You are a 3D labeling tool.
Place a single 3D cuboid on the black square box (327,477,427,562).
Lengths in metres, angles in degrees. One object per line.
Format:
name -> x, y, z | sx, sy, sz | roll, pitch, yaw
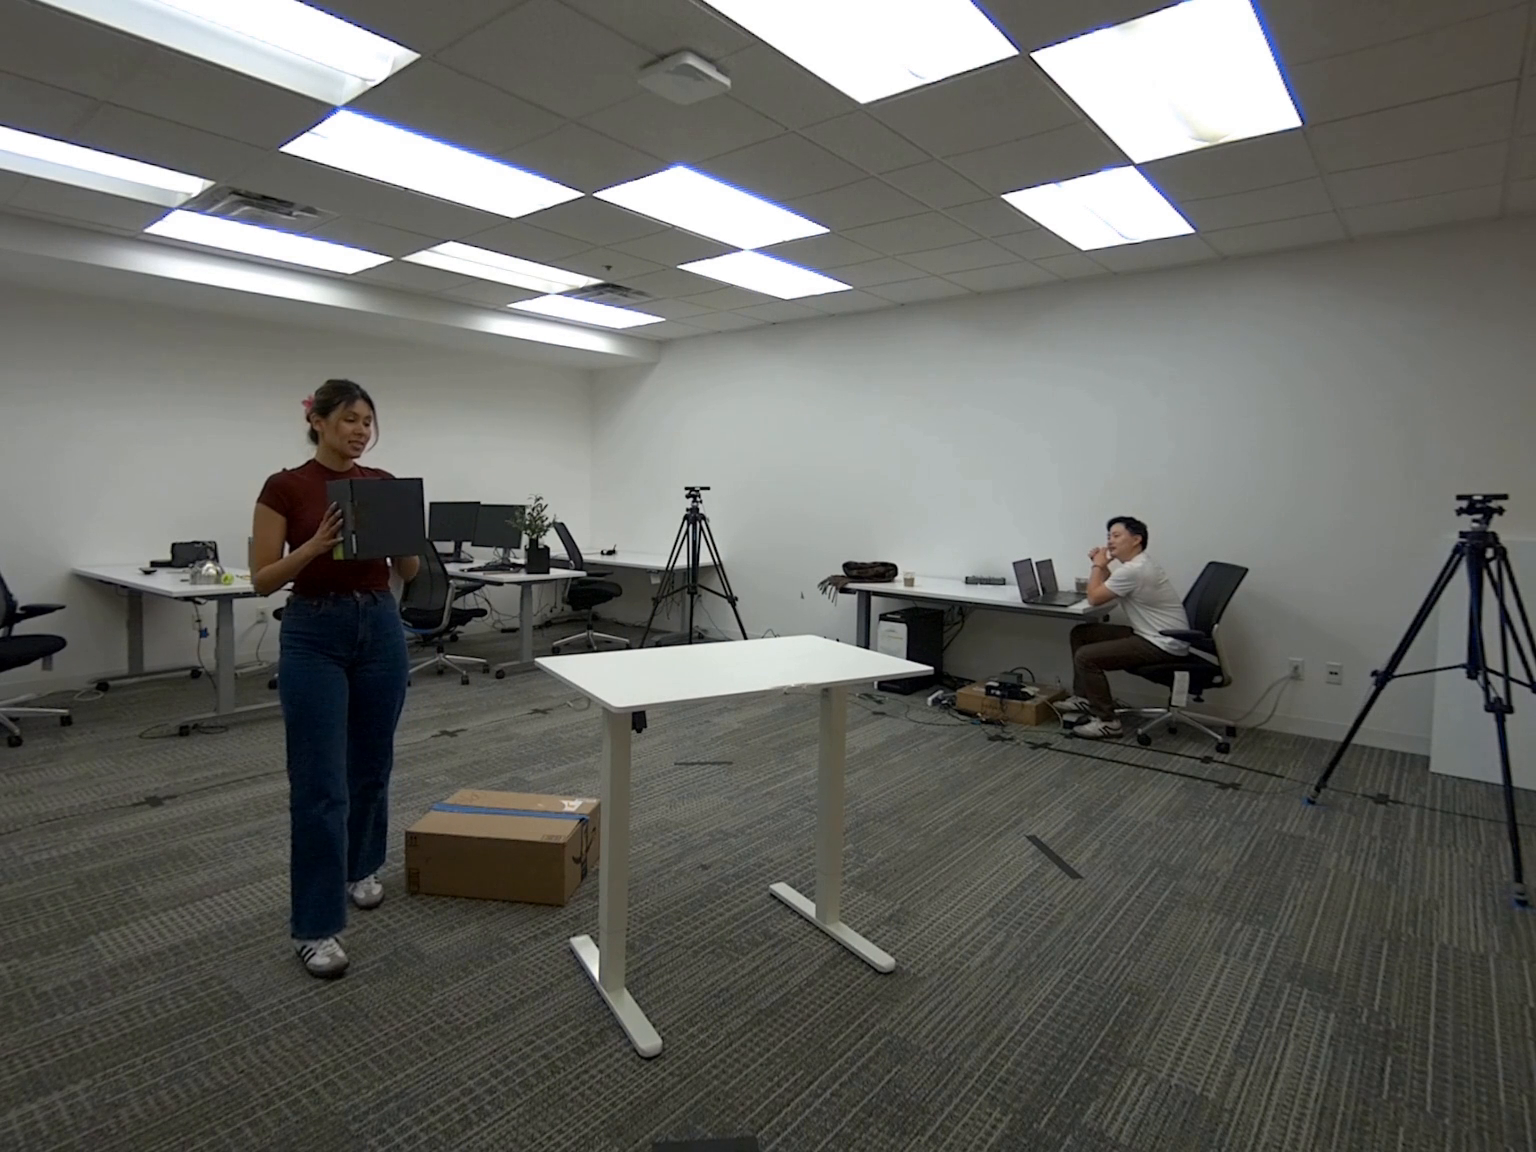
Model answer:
black square box -> -1.142, -0.172, 2.435 | 0.161, 0.227, 0.211 | -2, 3, 39
